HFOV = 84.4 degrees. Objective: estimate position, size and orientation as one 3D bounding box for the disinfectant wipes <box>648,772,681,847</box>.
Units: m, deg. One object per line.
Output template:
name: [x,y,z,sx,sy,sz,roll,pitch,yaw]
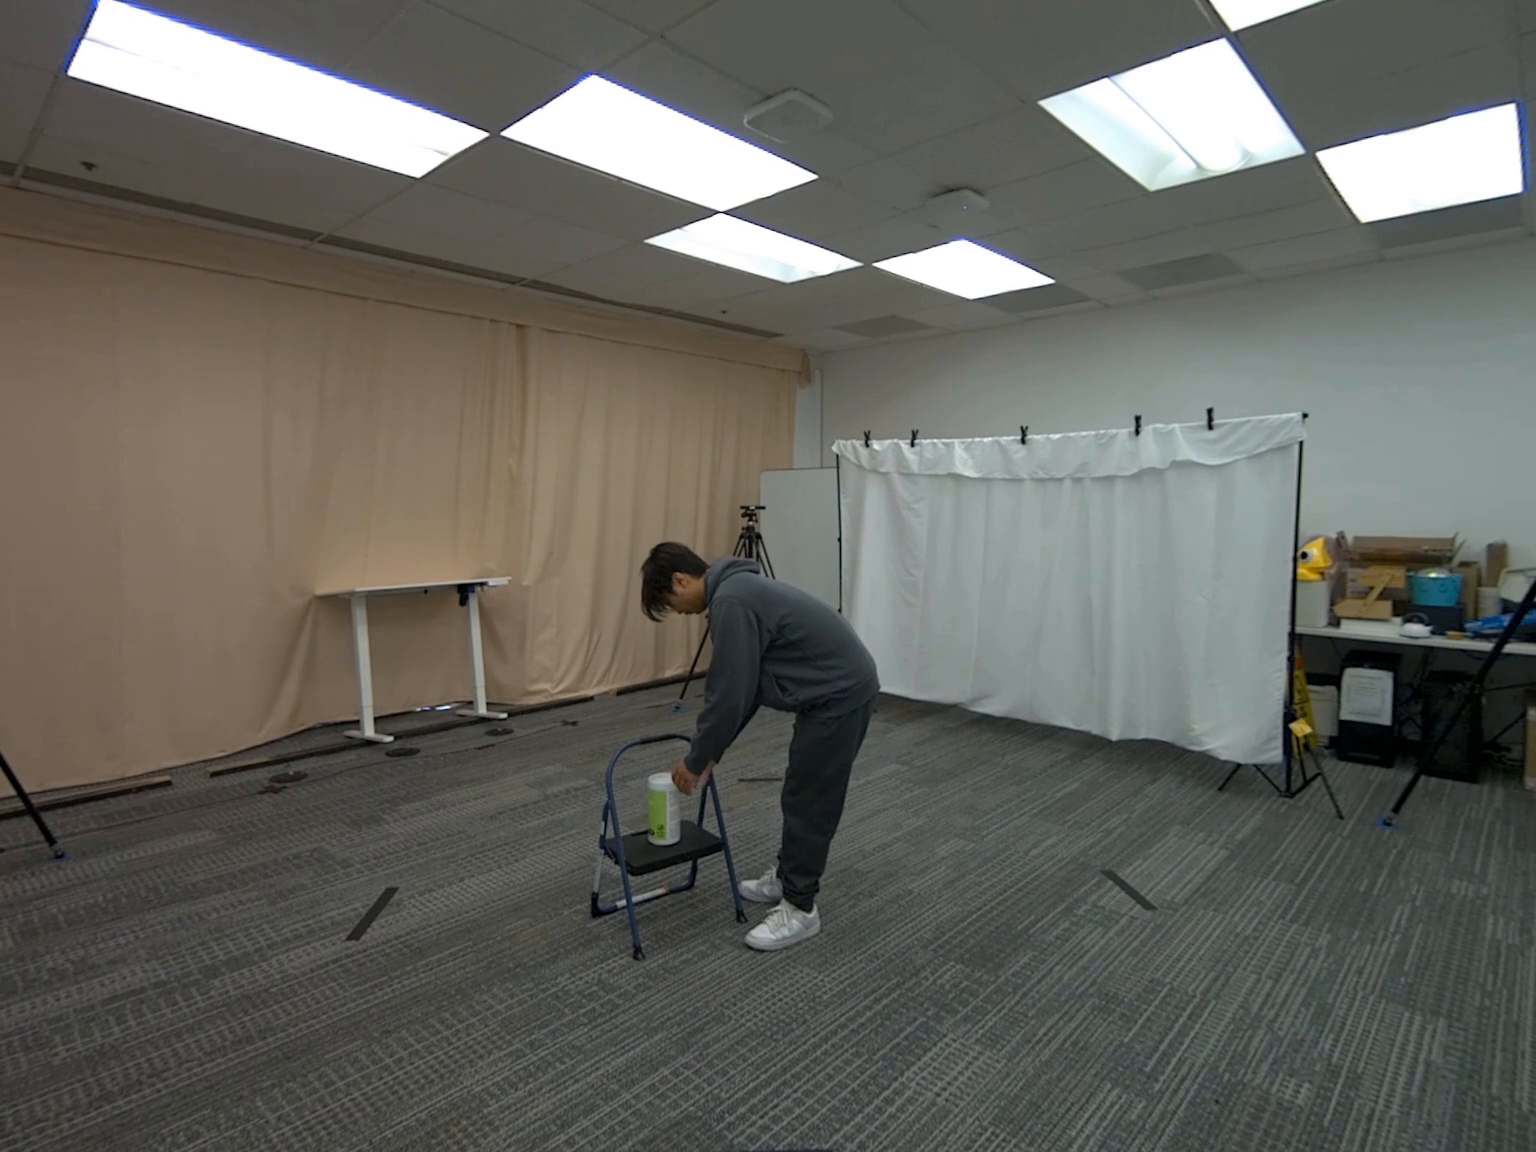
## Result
disinfectant wipes: [-0.352,0.793,2.851,0.118,0.217,0.118,-1,3,-2]
